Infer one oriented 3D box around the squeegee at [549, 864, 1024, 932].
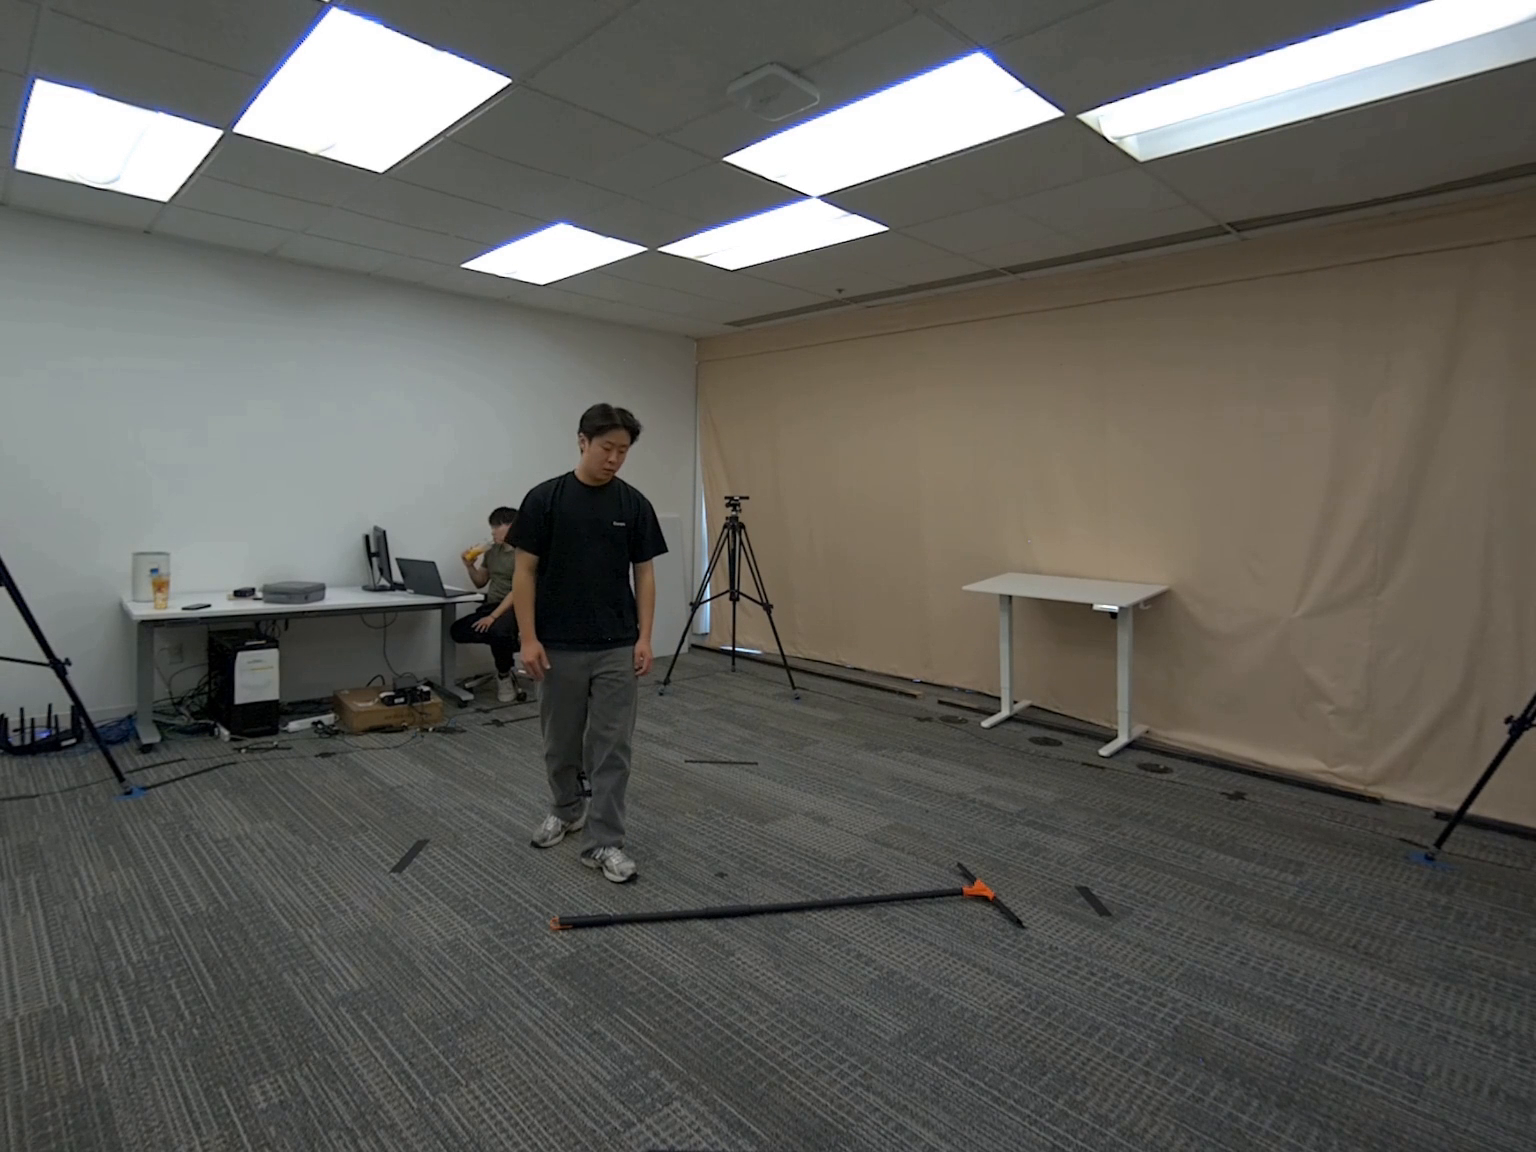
[{"bbox_3d":[0.038,1.090,2.831,1.523,0.053,0.443,0,5,-12],"label":"squeegee"}]
